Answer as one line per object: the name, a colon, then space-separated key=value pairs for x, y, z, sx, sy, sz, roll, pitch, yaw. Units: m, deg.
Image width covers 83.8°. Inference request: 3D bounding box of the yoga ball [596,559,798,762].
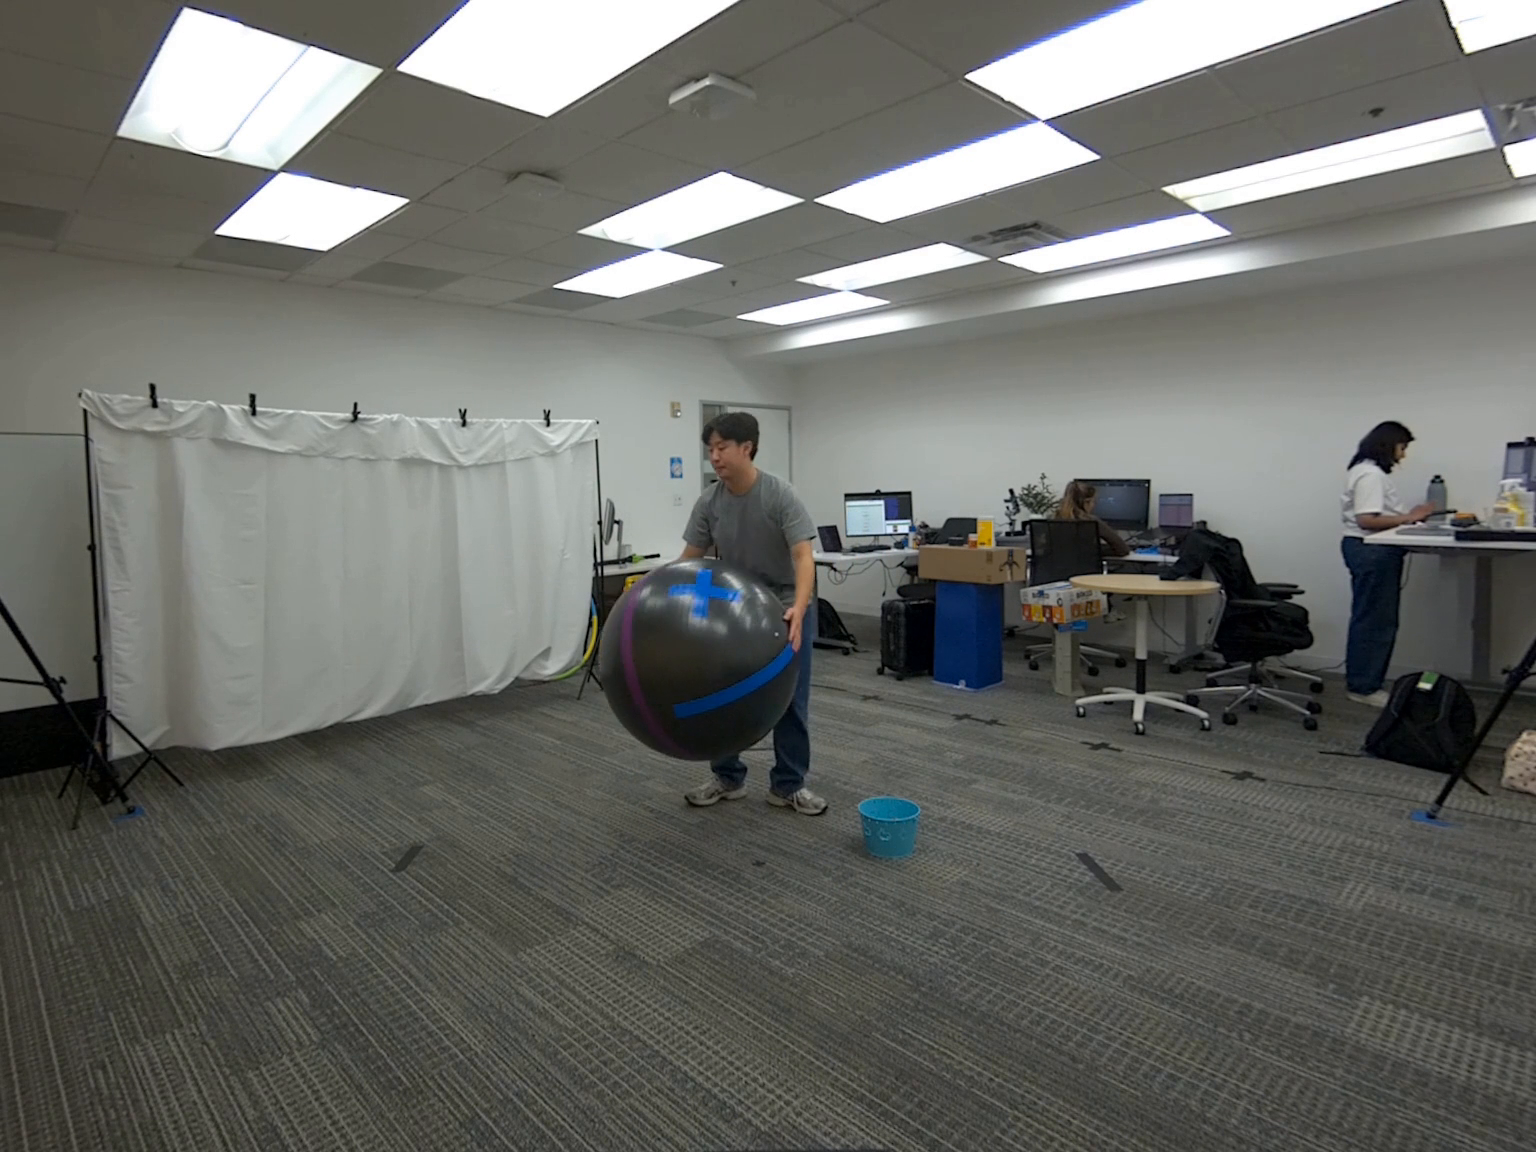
yoga ball: x=-0.255 y=0.324 z=3.246 sx=0.757 sy=0.755 sz=0.762 roll=-1 pitch=5 yaw=-2
